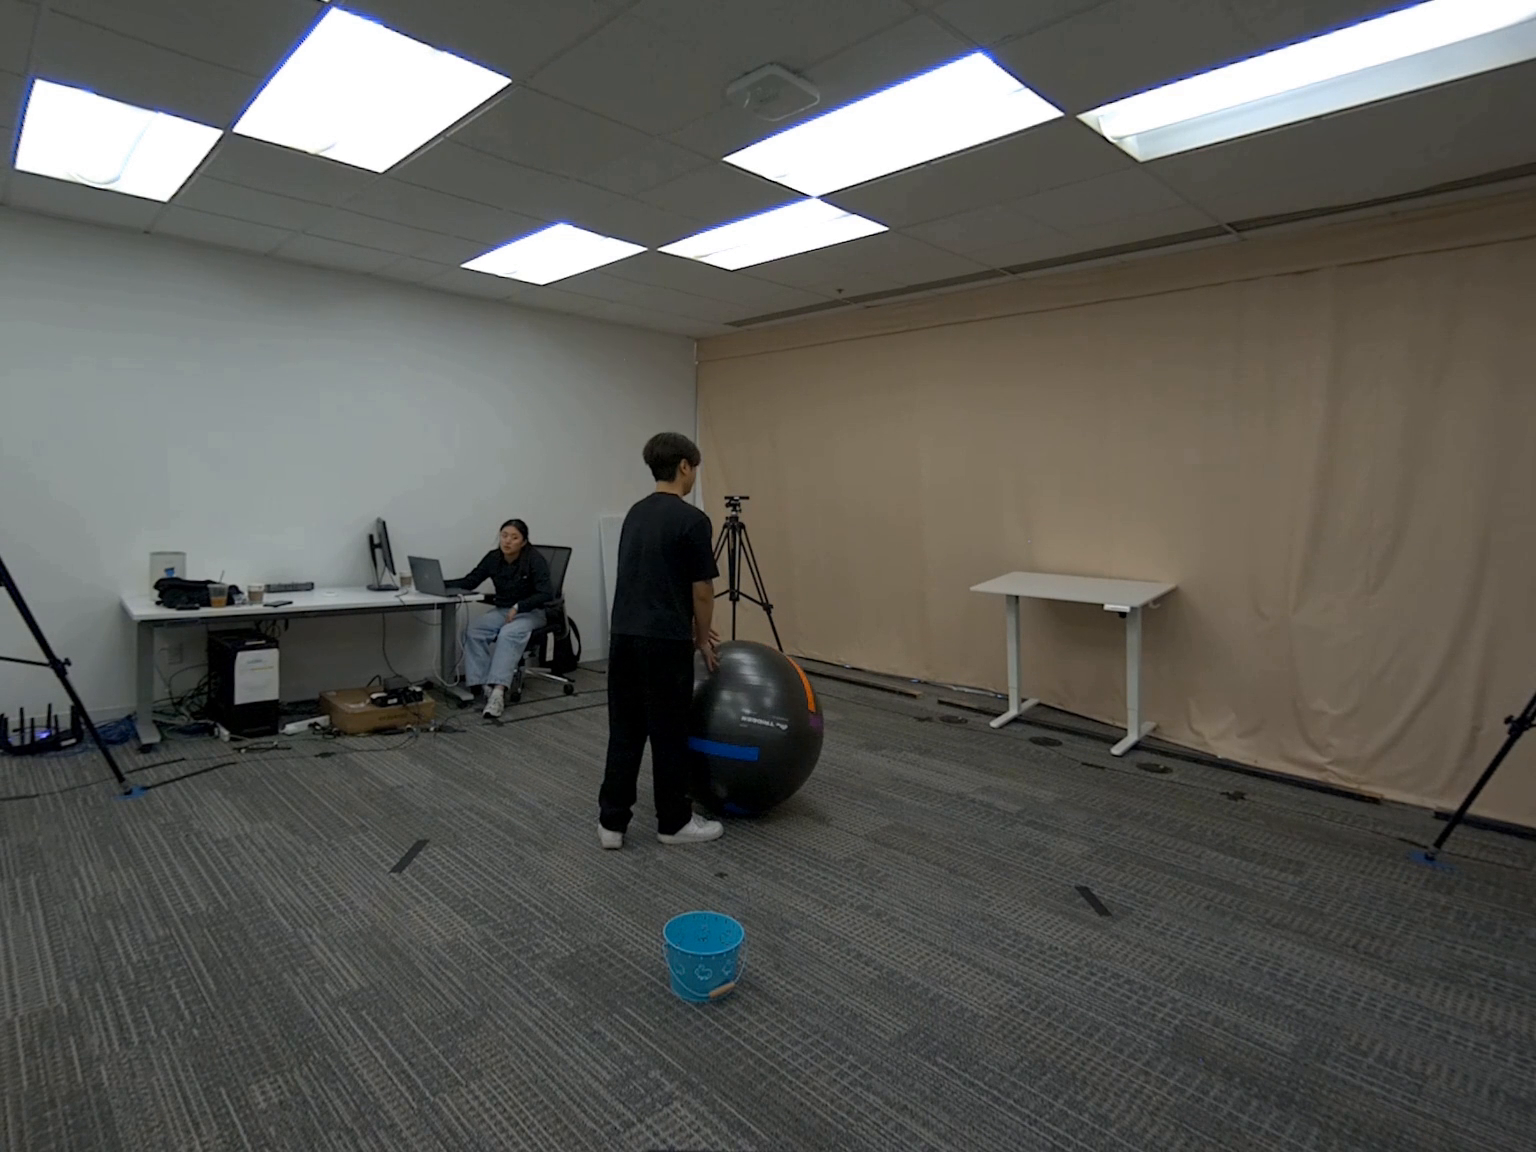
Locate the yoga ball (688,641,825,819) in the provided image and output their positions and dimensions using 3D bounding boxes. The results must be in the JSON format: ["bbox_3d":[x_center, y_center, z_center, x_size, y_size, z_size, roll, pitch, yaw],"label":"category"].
[{"bbox_3d":[-0.138,0.676,3.774,0.757,0.756,0.761,1,4,-1],"label":"yoga ball"}]
